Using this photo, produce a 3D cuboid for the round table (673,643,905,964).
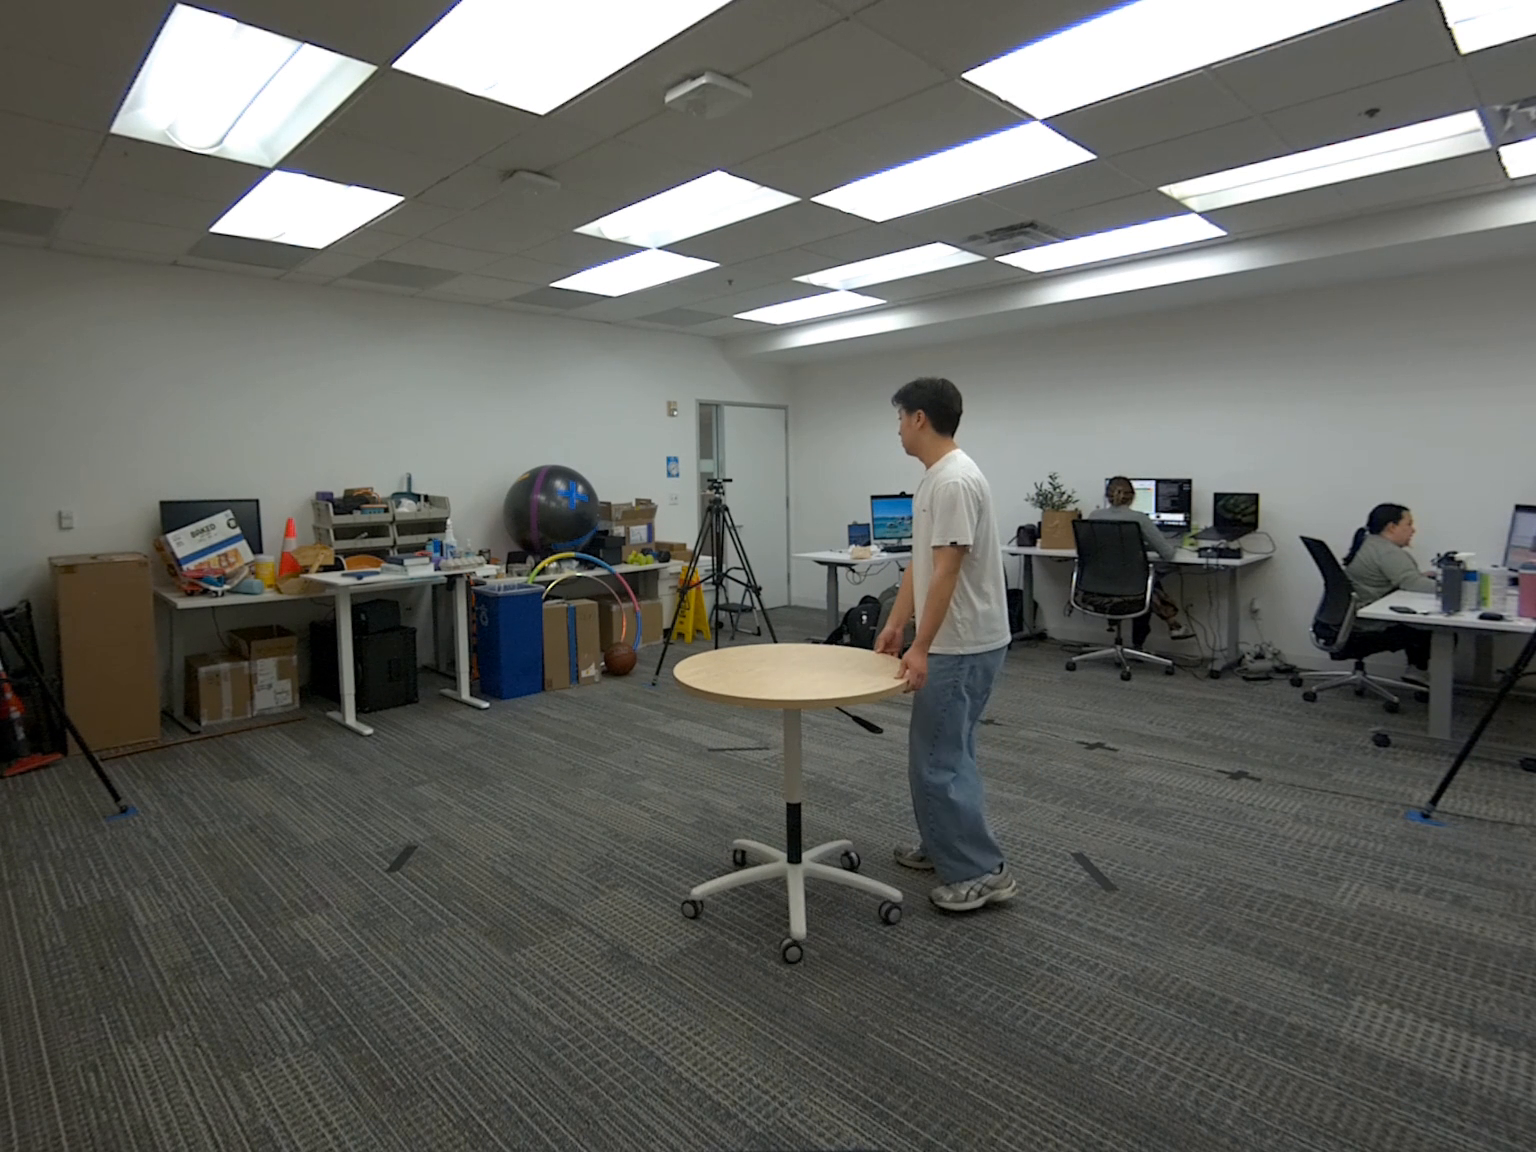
[{"bbox_3d":[0.081,0.691,2.785,0.763,0.790,0.768,-1,5,-2],"label":"round table"}]
